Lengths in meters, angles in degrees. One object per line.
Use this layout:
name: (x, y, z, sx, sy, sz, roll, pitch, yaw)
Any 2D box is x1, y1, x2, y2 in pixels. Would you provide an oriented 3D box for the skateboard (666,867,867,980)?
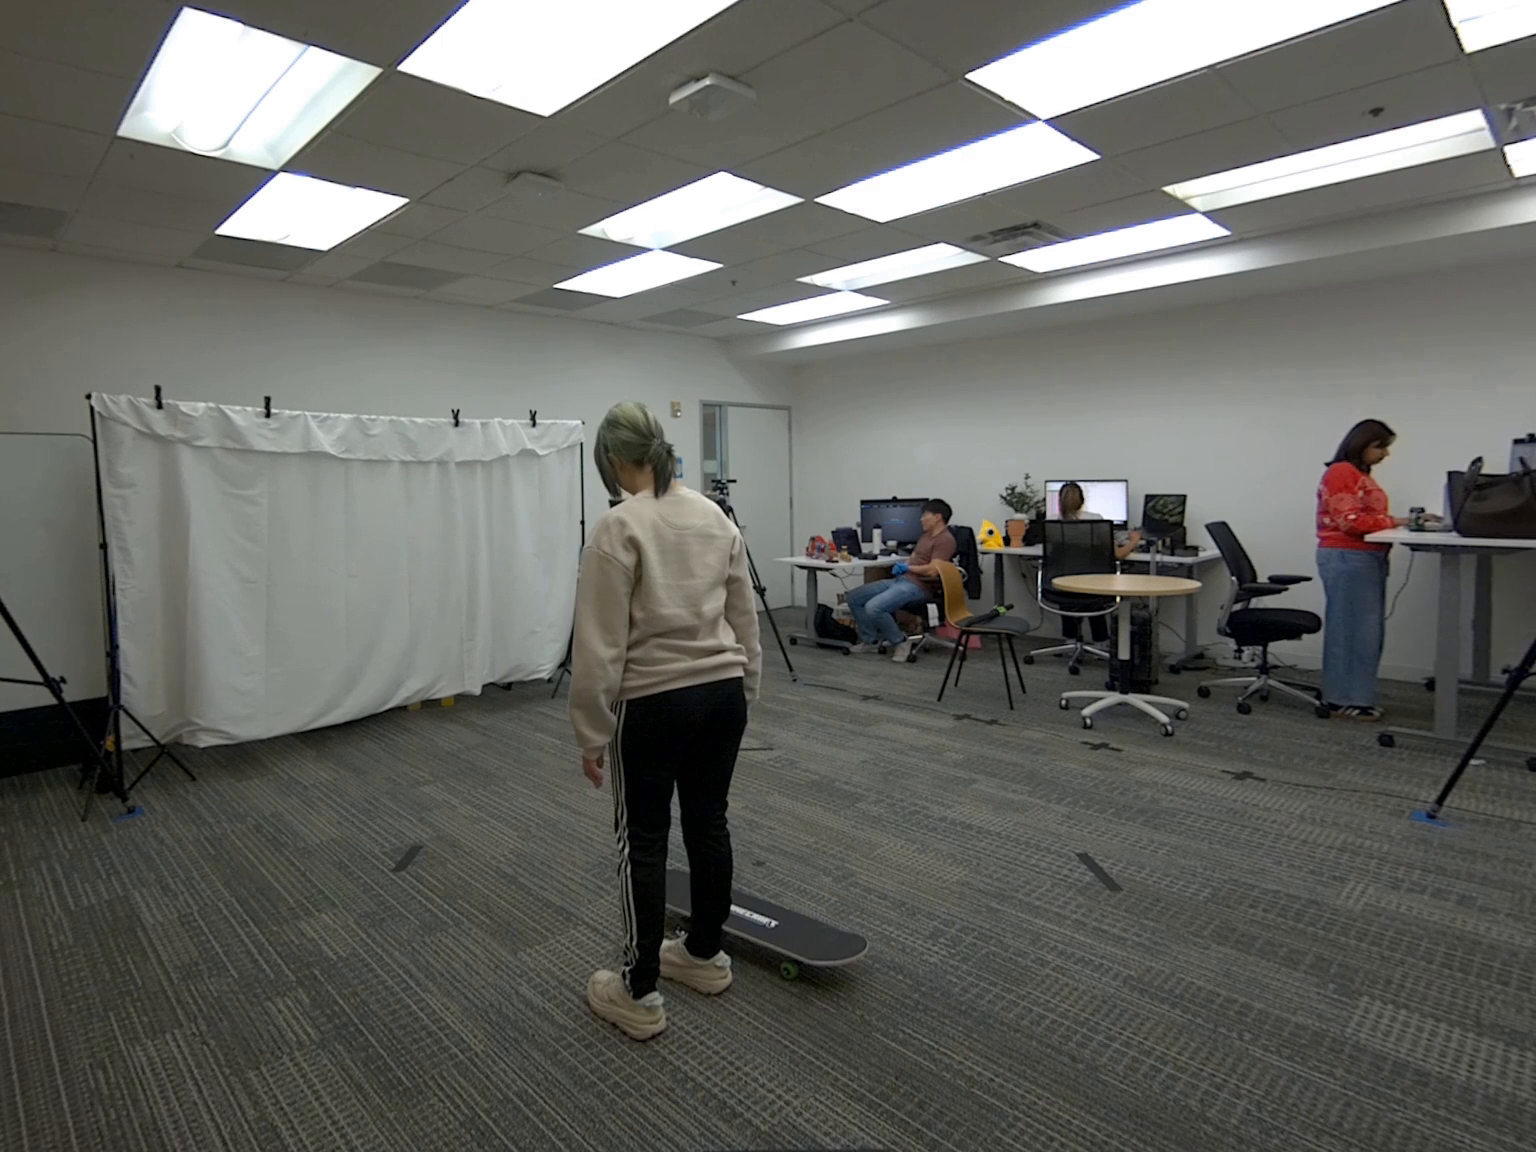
skateboard: (-0.054, 1.056, 2.568, 0.809, 0.110, 0.189, 3, 9, 37)
